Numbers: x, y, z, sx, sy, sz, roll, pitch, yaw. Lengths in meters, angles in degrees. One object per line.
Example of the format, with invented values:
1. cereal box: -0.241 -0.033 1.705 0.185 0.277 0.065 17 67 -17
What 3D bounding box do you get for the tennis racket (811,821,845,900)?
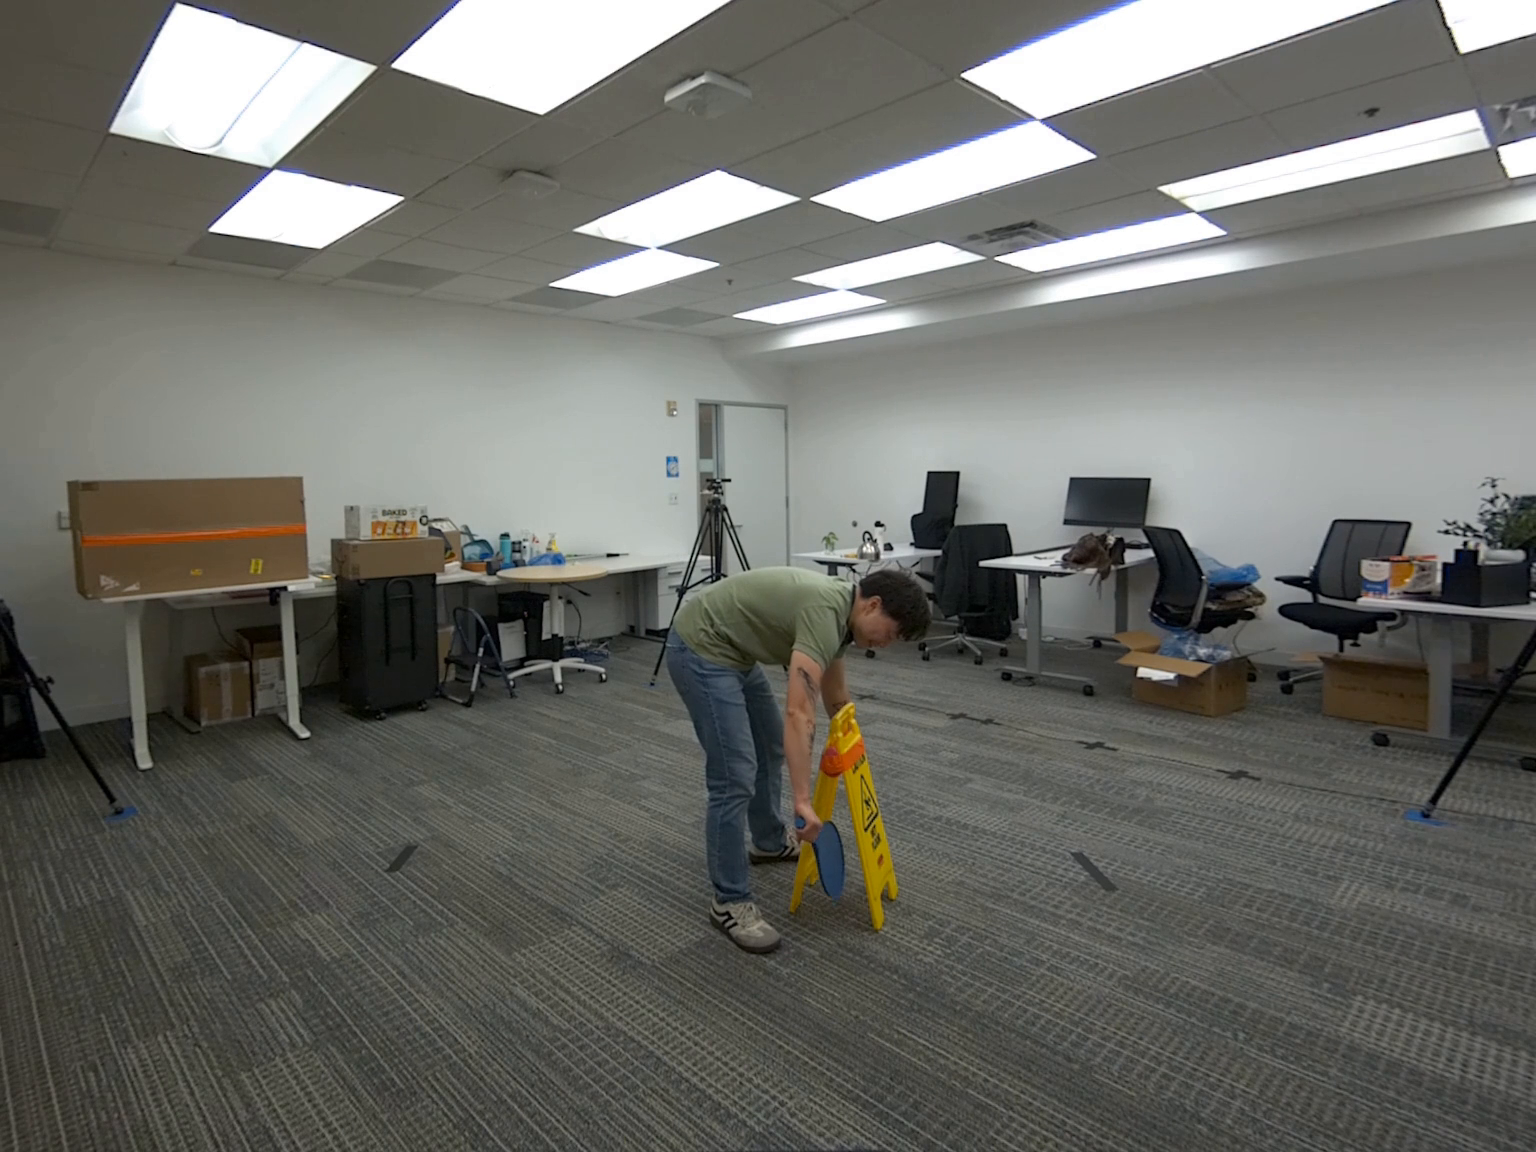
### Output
1. tennis racket: 0.160 0.804 2.509 0.032 0.219 0.418 -3 -42 10
